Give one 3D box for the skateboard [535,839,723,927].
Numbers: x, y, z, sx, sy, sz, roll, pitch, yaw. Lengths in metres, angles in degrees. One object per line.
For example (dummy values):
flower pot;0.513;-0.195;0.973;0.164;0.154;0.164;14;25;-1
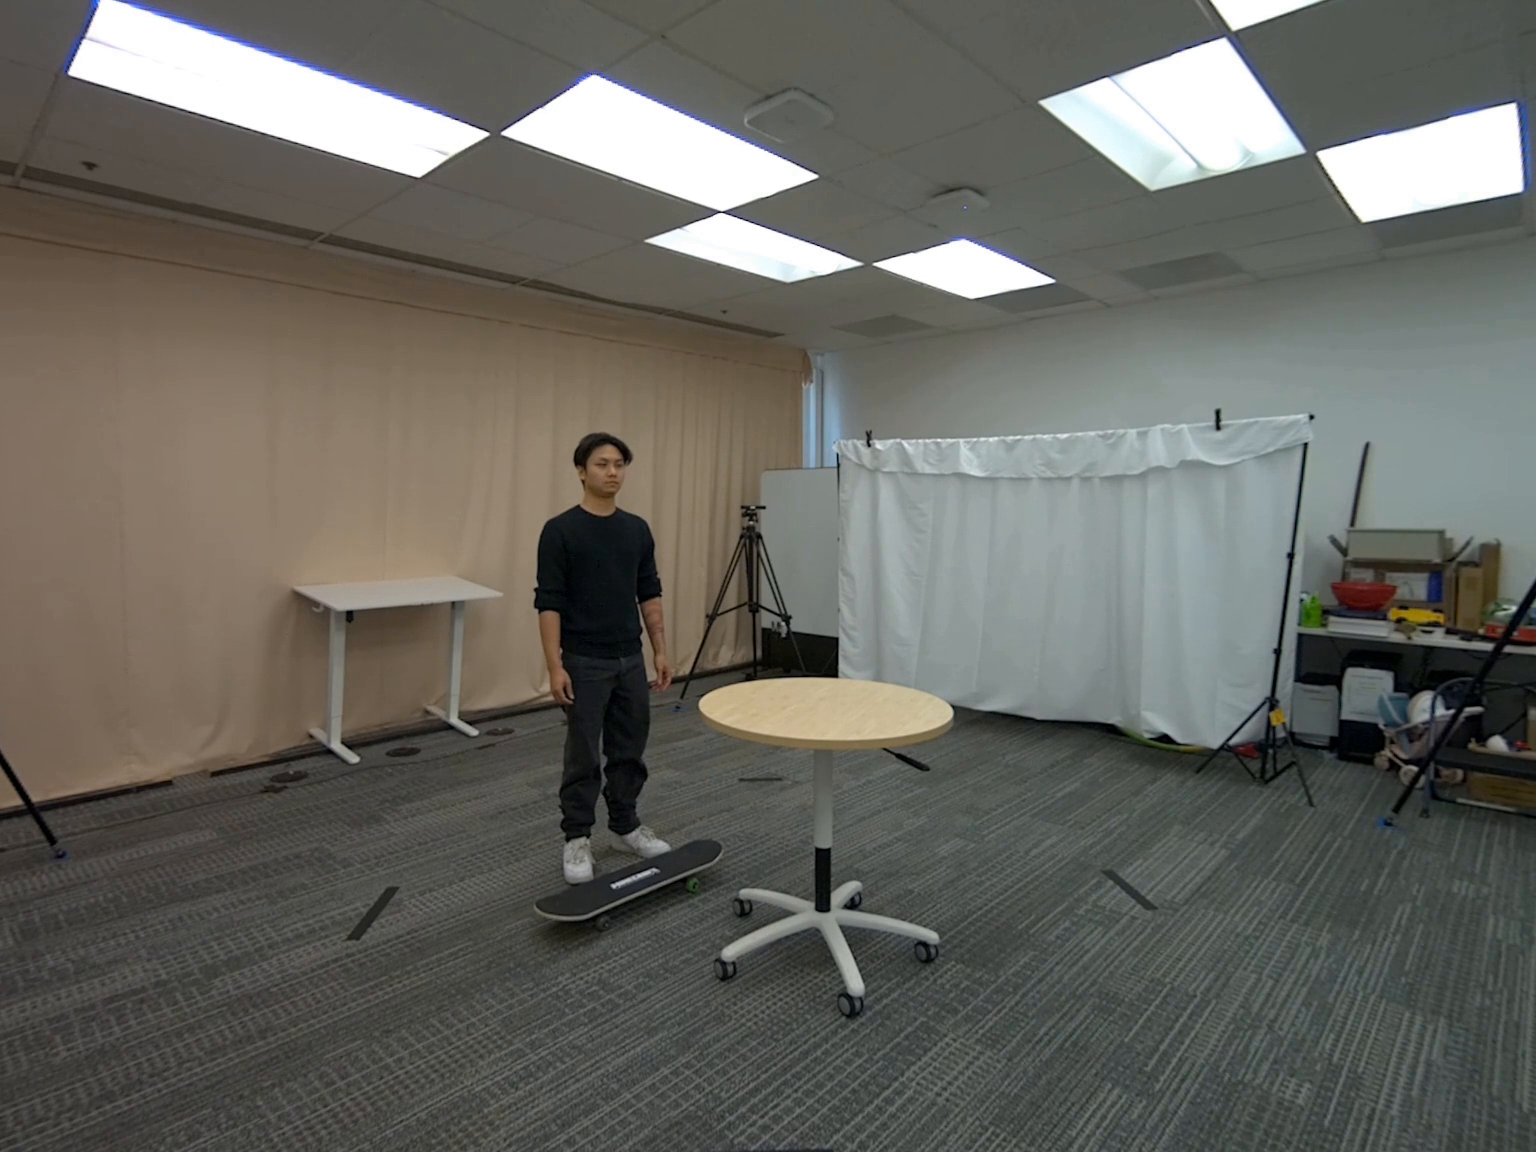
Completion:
skateboard;-0.471;1.097;2.953;0.200;0.110;0.761;4;6;45
